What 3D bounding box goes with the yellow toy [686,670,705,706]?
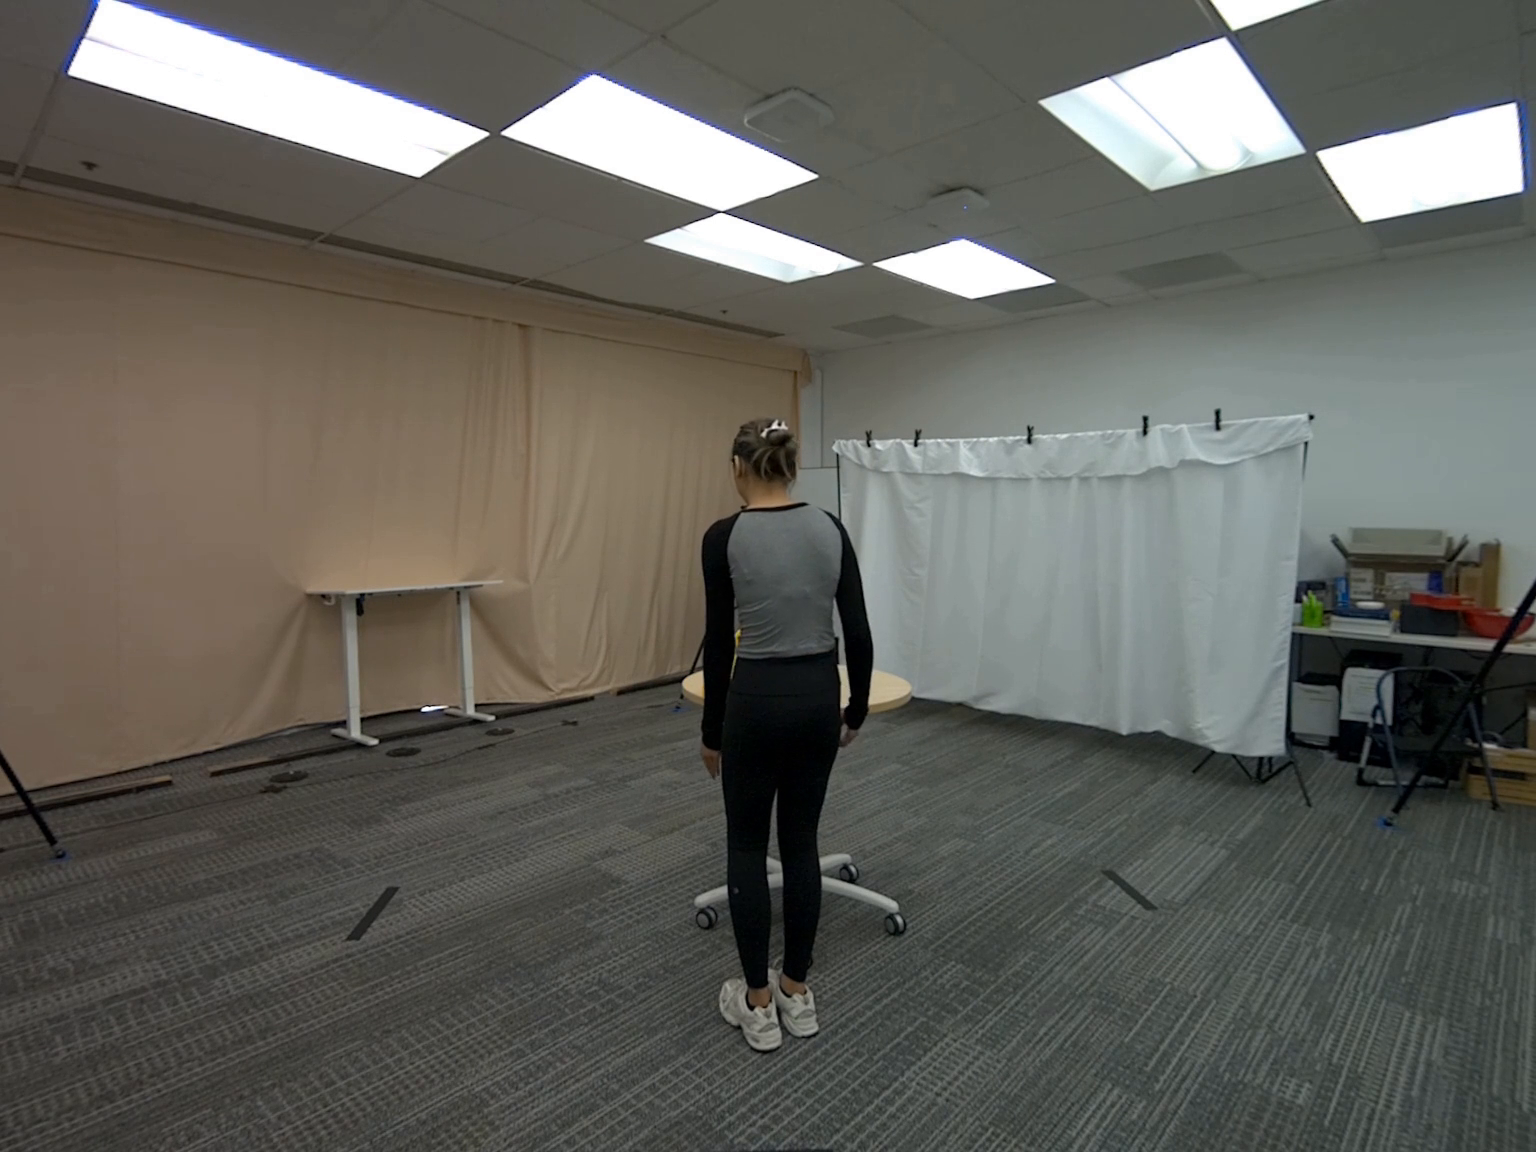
[{"bbox_3d":[-0.096,0.263,2.618,0.200,0.230,0.198,-1,3,-26],"label":"yellow toy"}]
